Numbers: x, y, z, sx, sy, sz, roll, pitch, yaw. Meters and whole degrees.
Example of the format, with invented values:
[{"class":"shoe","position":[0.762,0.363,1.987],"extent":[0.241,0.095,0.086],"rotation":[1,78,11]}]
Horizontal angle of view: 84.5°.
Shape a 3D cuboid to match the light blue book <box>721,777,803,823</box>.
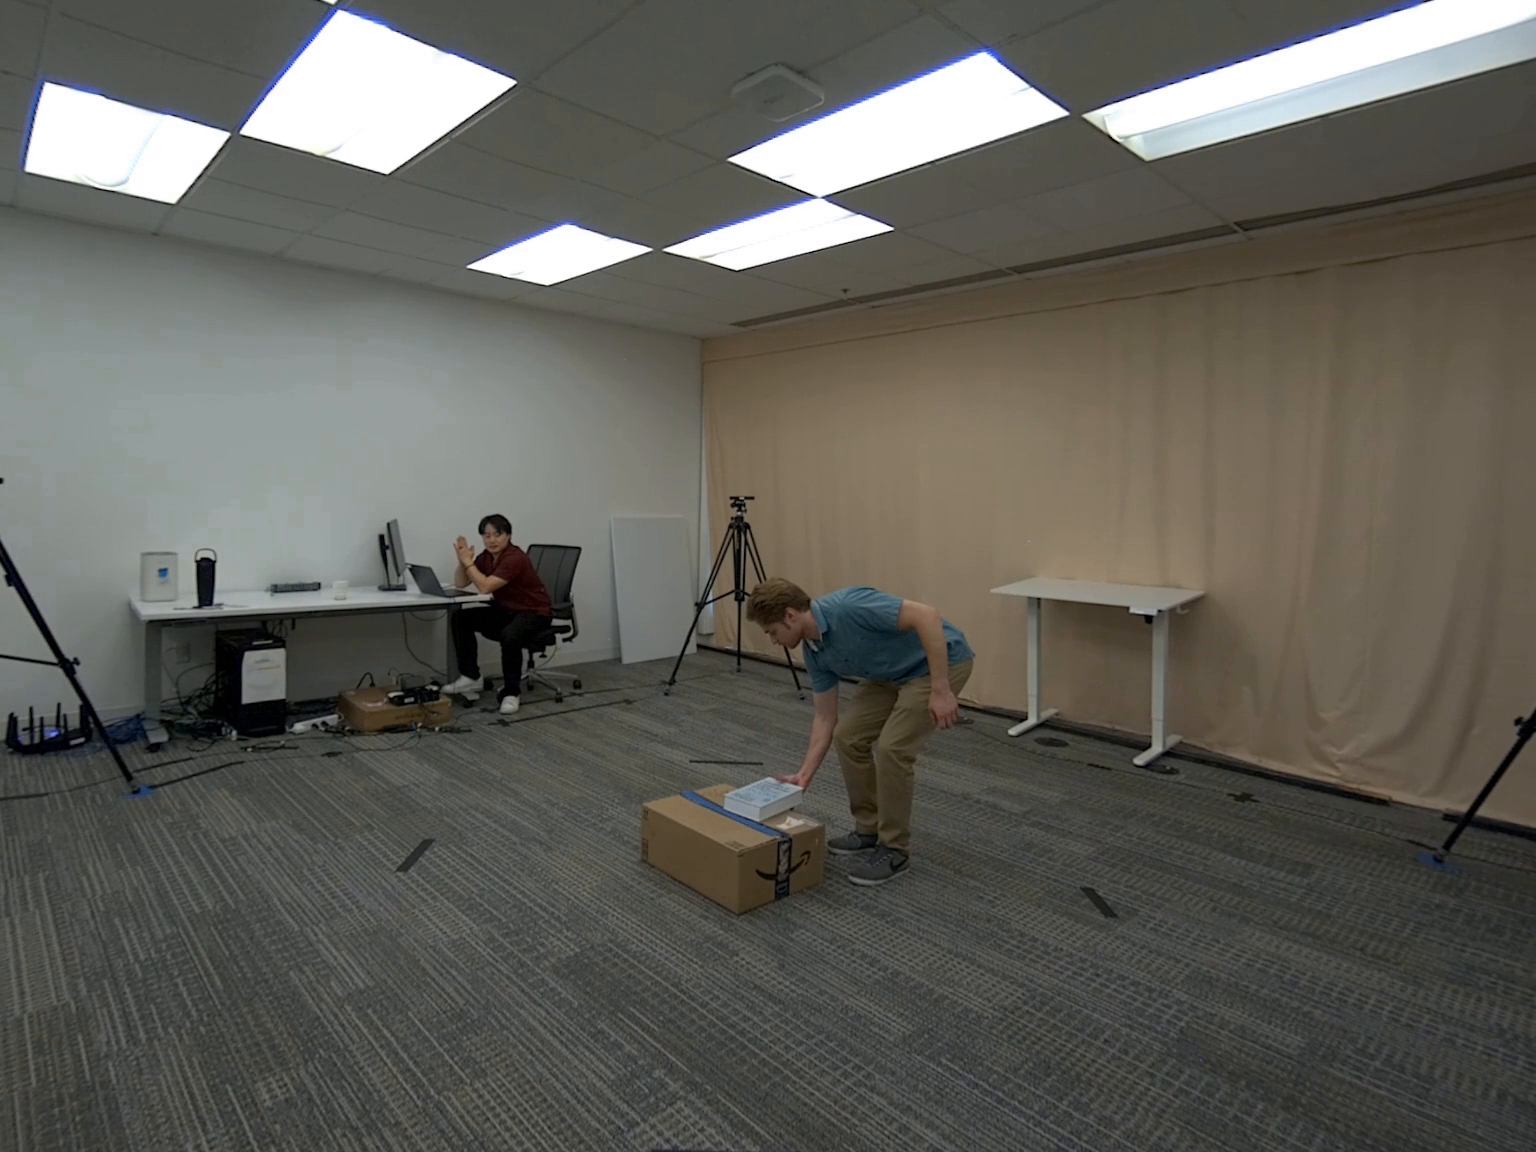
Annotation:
[{"class":"light blue book","position":[-0.019,0.847,3.230],"extent":[0.196,0.059,0.255],"rotation":[5,8,40]}]
